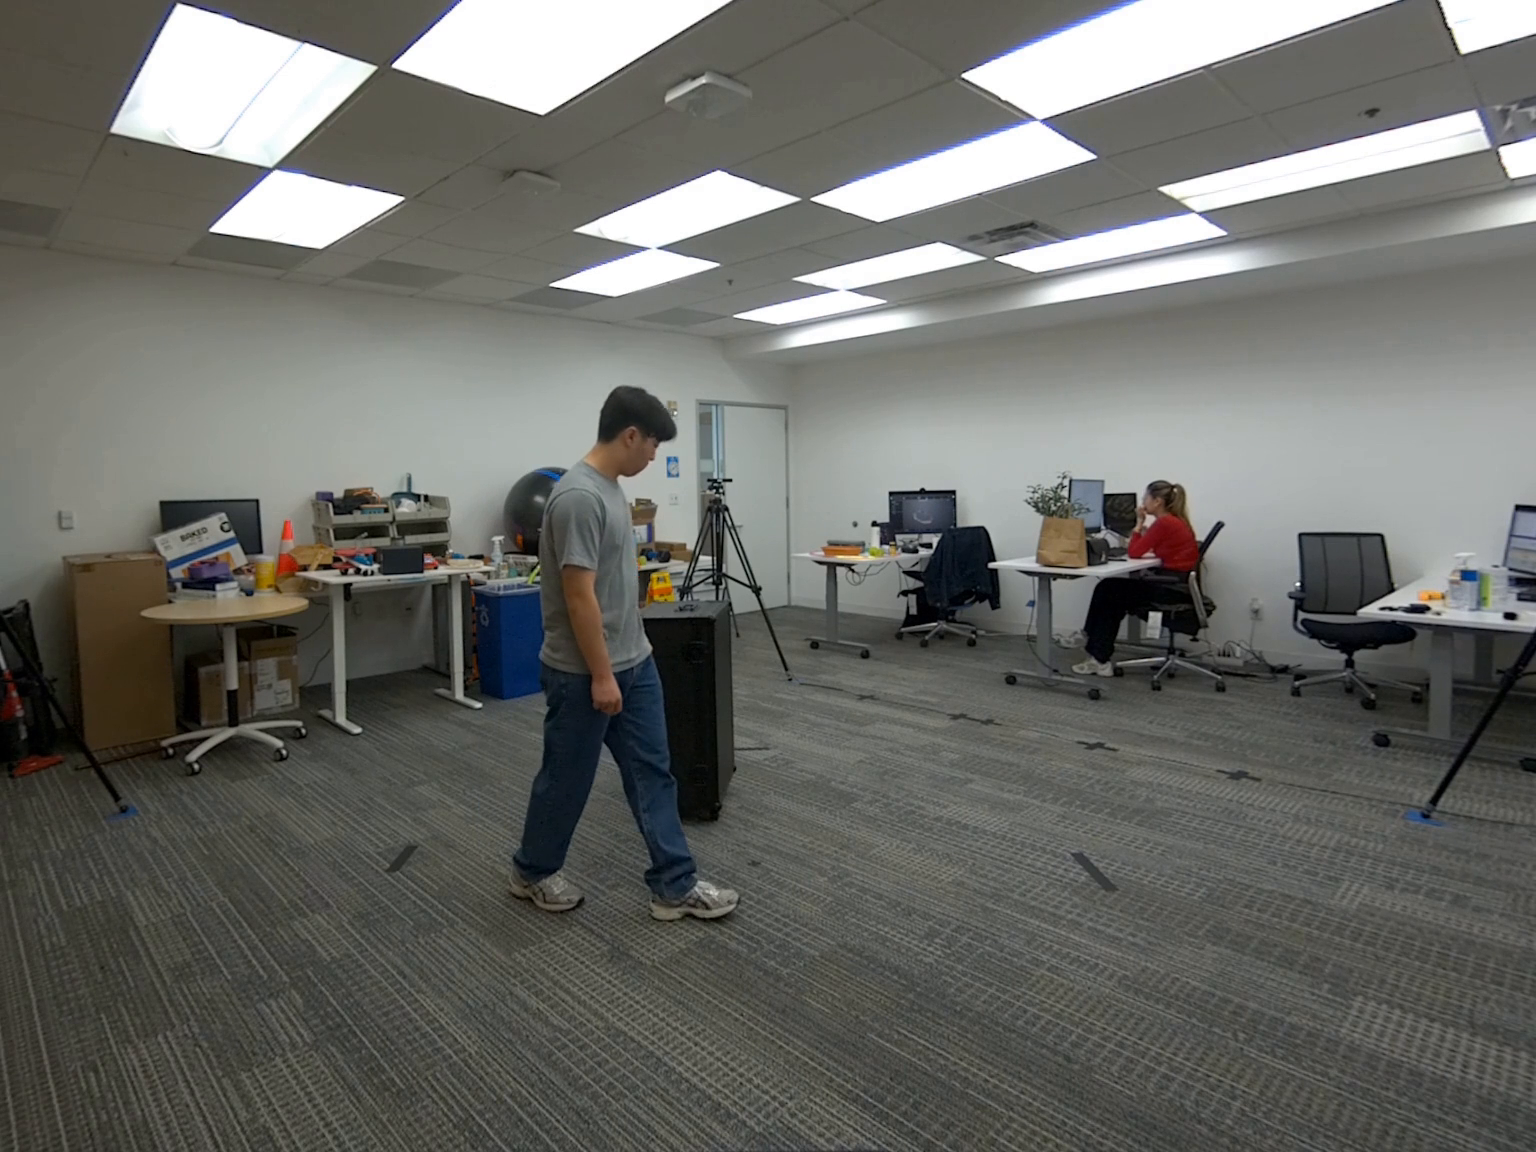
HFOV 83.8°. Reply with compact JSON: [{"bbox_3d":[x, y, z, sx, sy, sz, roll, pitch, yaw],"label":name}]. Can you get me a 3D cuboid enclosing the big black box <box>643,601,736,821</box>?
[{"bbox_3d":[-0.361,0.564,3.667,0.399,0.859,0.519,-1,4,6],"label":"big black box"}]
